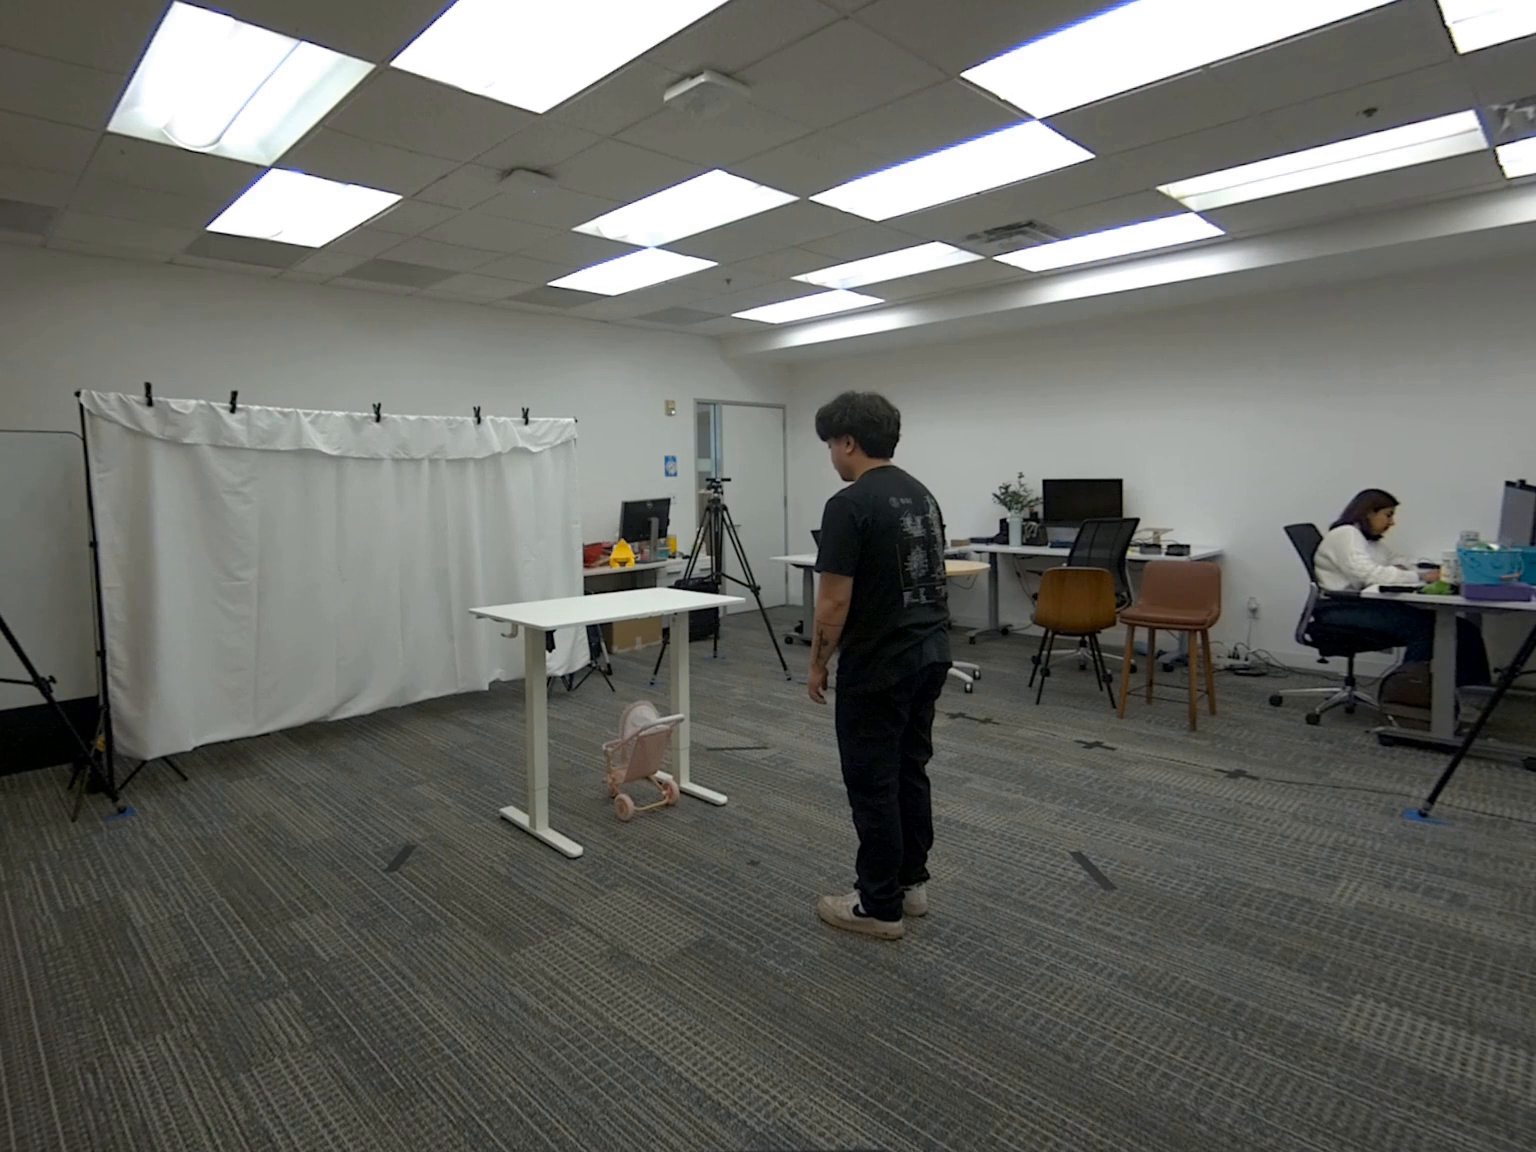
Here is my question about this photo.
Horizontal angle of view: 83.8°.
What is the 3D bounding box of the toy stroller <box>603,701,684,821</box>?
[{"bbox_3d":[-0.554,0.766,3.643,0.274,0.529,0.354,-4,21,-41],"label":"toy stroller"}]
